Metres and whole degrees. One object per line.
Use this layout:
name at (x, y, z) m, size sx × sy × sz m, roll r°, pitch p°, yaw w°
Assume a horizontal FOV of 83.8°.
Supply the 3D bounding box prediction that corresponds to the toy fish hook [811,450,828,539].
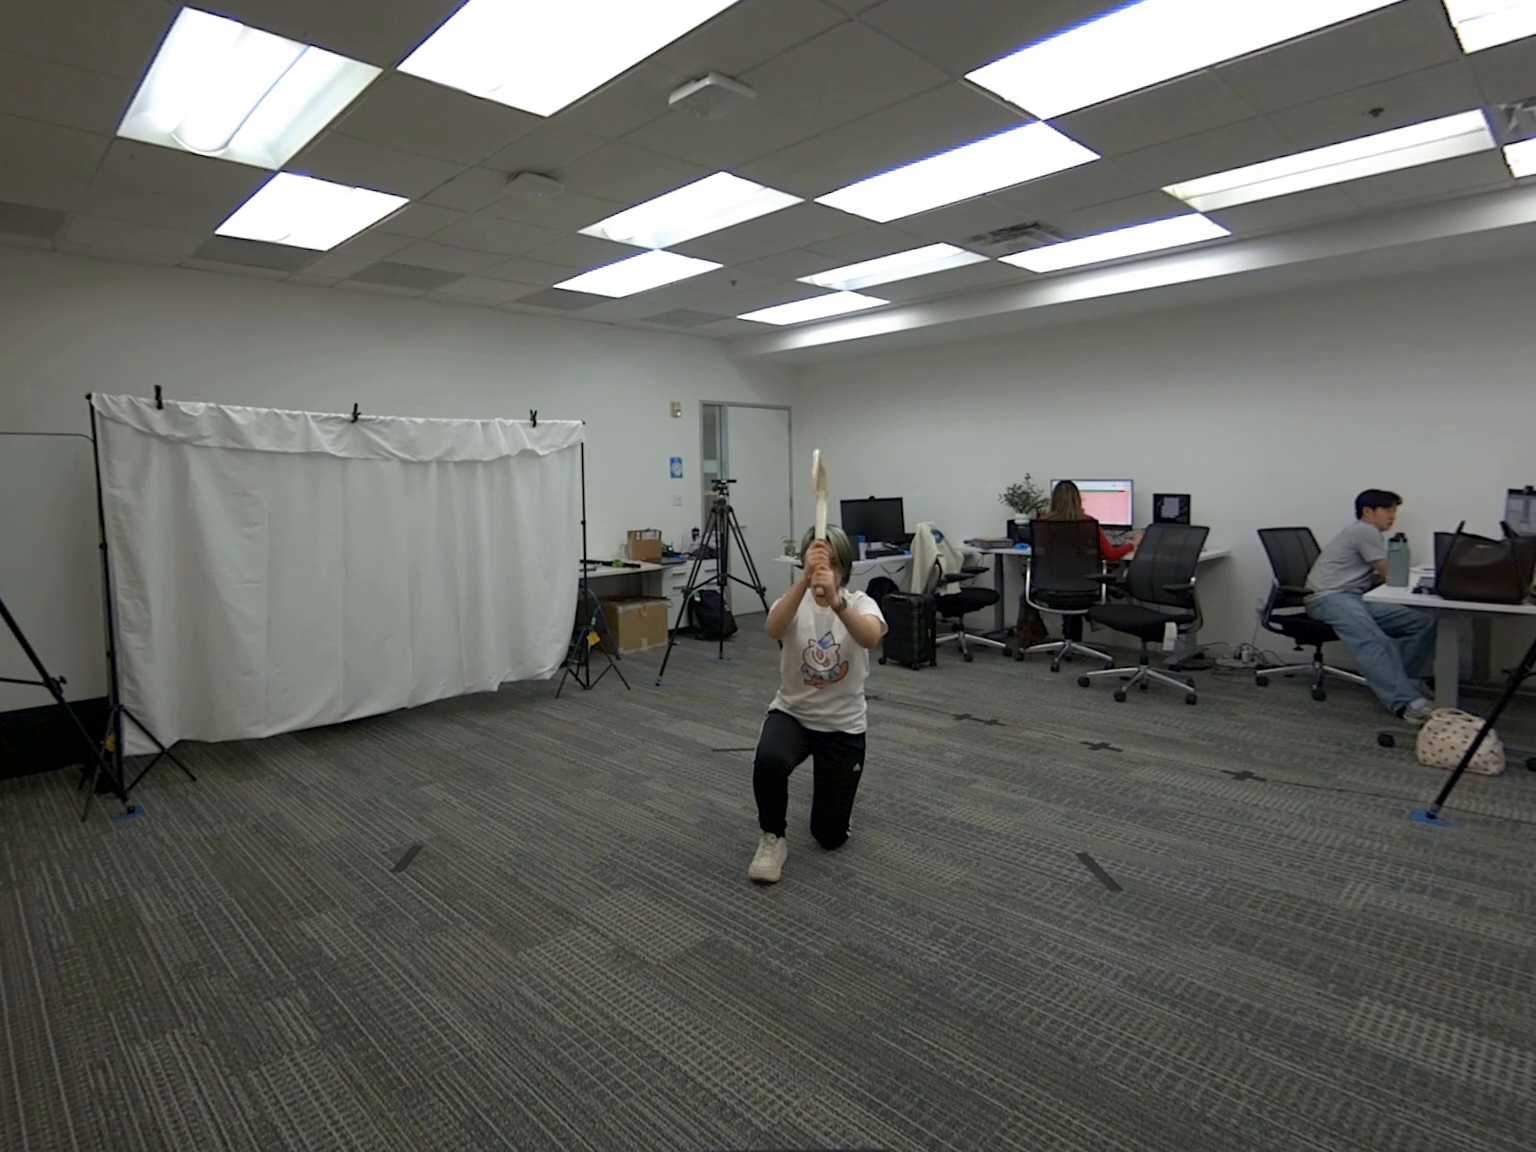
toy fish hook at (0.167, -0.173, 2.850) m, size 0.049 × 0.517 × 0.217 m, roll -7°, pitch -28°, yaw 17°
